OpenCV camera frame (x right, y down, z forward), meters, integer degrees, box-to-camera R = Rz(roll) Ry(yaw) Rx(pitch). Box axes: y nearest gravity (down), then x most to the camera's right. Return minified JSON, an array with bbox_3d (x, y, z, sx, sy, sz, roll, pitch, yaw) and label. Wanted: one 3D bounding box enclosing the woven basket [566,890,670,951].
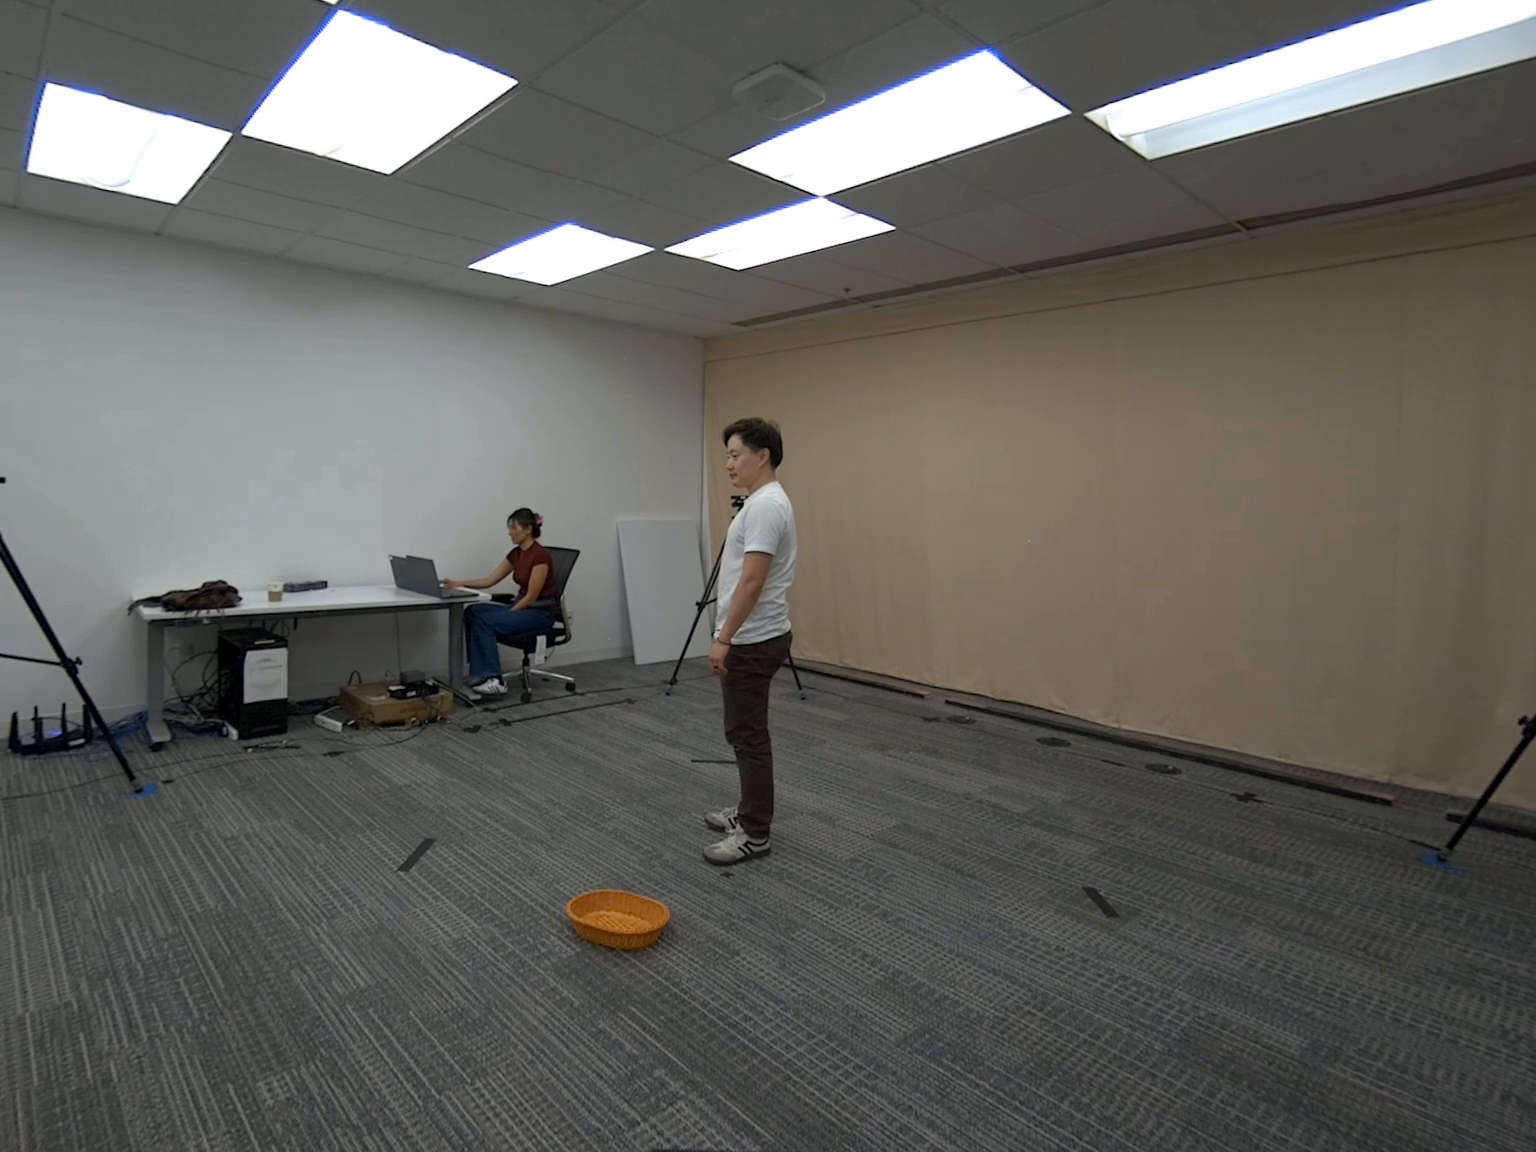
[{"bbox_3d":[-0.484,1.096,2.681,0.358,0.073,0.247,4,4,28],"label":"woven basket"}]
